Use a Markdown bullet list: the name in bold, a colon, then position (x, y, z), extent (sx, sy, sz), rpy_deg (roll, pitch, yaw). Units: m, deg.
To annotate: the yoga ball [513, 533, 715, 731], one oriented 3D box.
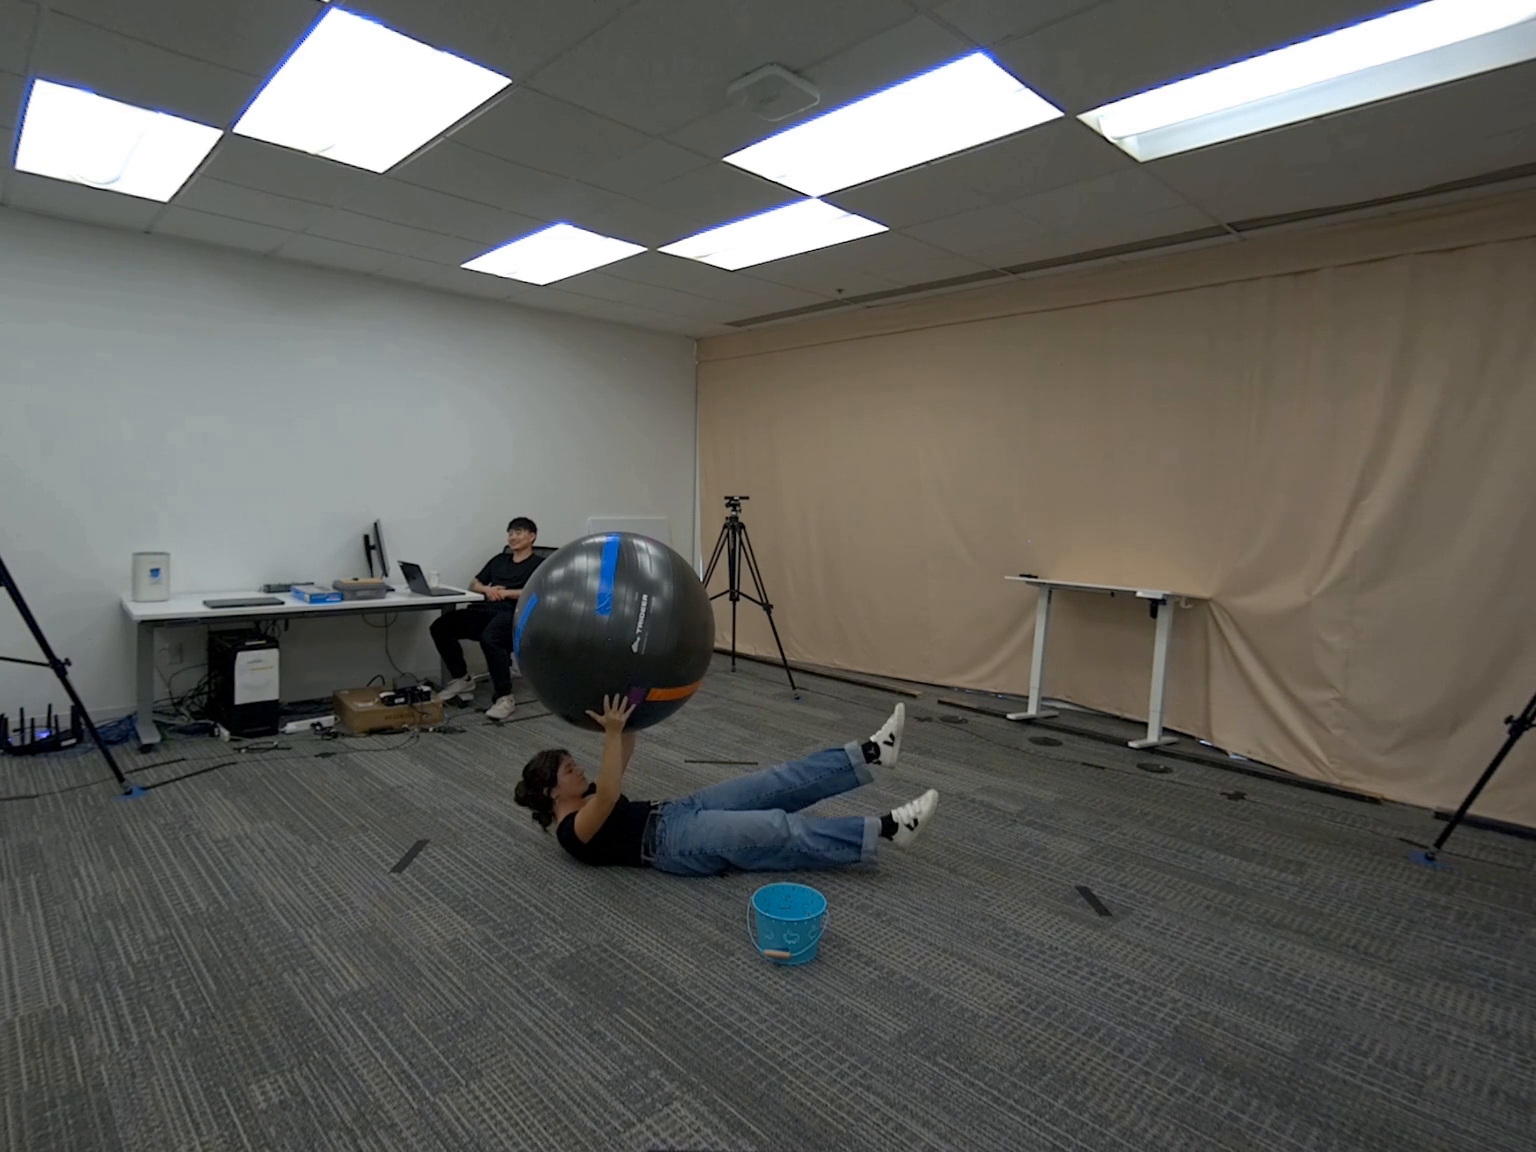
- **yoga ball**: position (-0.583, 0.216, 3.187), extent (0.757, 0.756, 0.761), rpy_deg (1, 4, -1)
